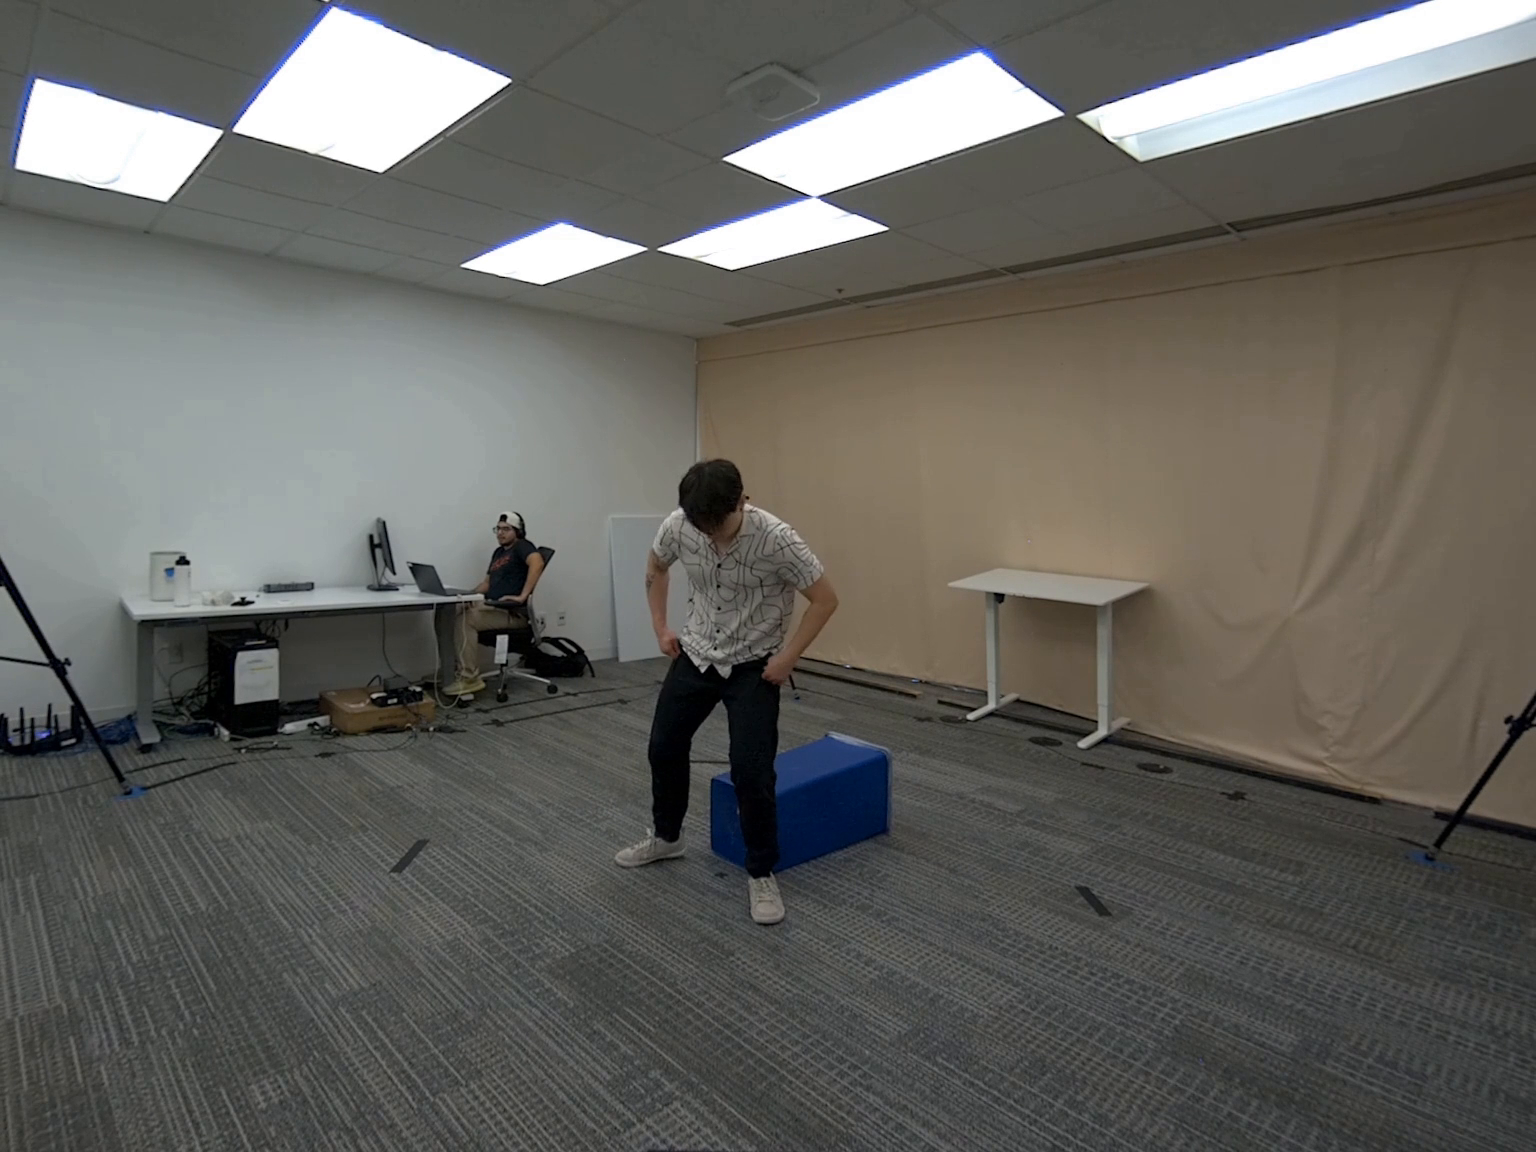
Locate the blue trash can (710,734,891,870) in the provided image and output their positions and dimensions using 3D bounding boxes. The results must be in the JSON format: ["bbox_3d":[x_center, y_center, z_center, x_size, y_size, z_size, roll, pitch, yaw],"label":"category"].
[{"bbox_3d":[0.120,0.911,3.412,0.698,0.377,0.384,-5,7,-41],"label":"blue trash can"}]
